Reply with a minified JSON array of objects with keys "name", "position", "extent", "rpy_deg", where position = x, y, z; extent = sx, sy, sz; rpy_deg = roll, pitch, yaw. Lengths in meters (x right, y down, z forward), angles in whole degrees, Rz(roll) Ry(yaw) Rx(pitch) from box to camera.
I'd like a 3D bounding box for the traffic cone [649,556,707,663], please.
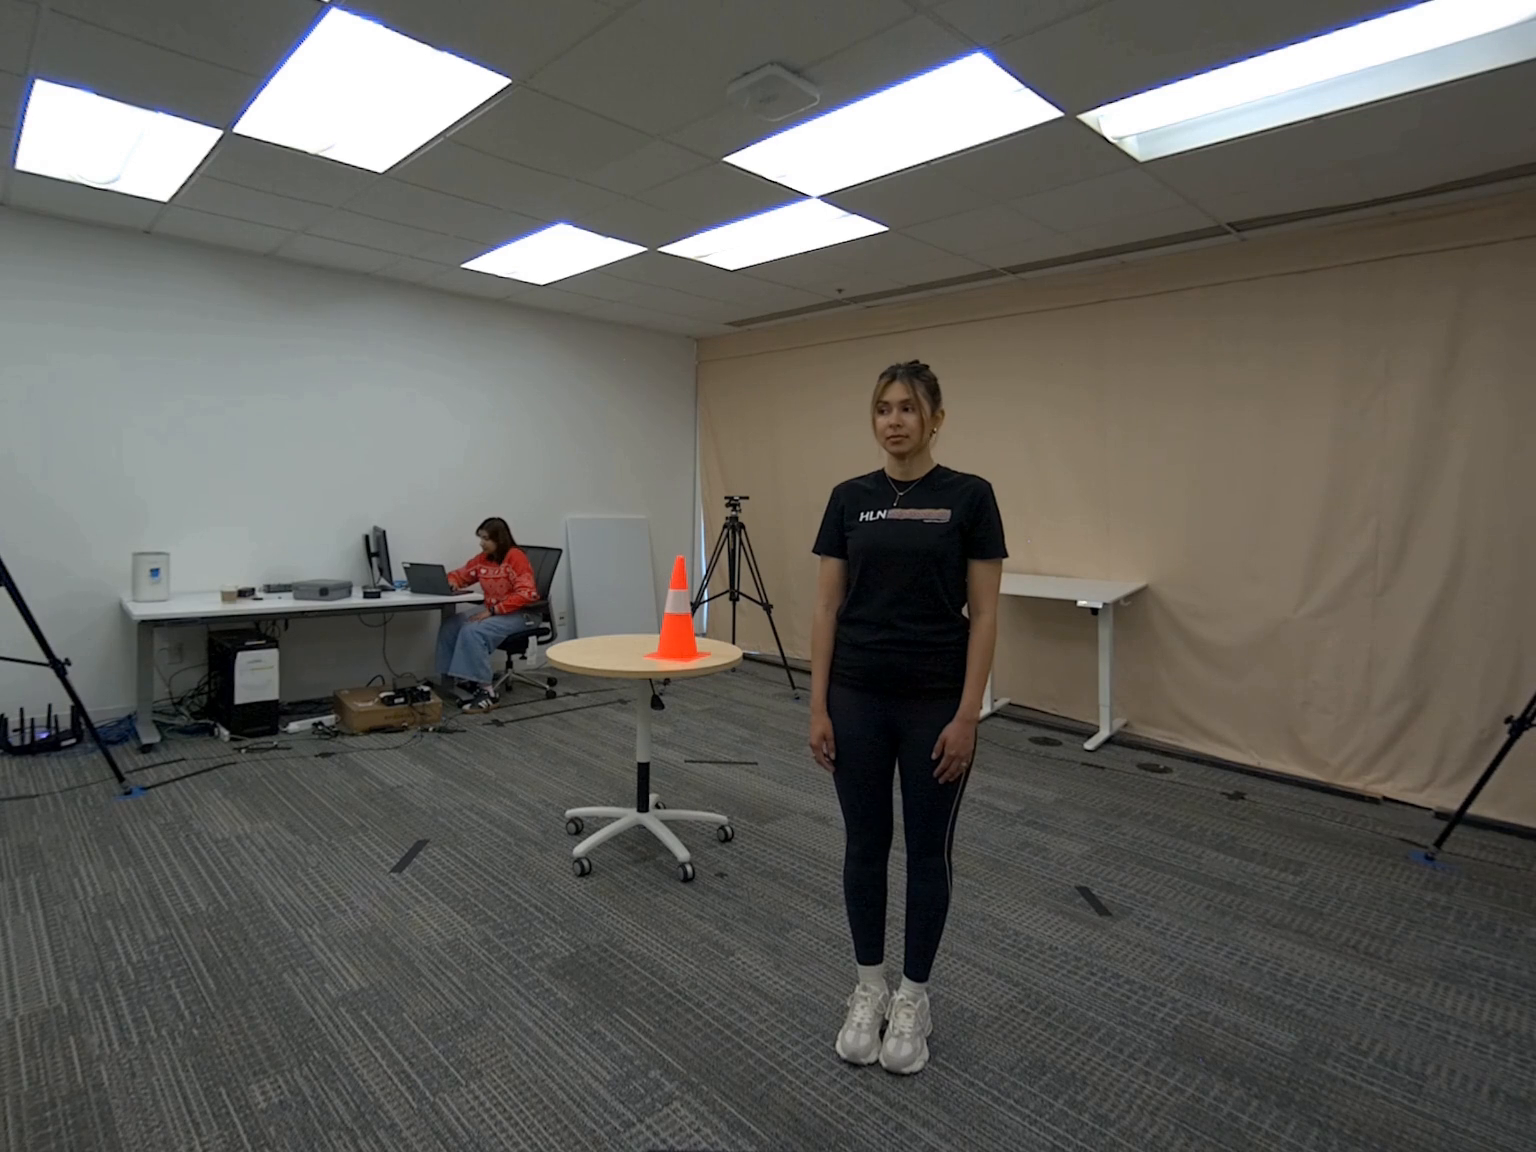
[{"name":"traffic cone","position":[-0.352,0.120,3.213],"extent":[0.209,0.383,0.199],"rpy_deg":[3,1,27]}]
